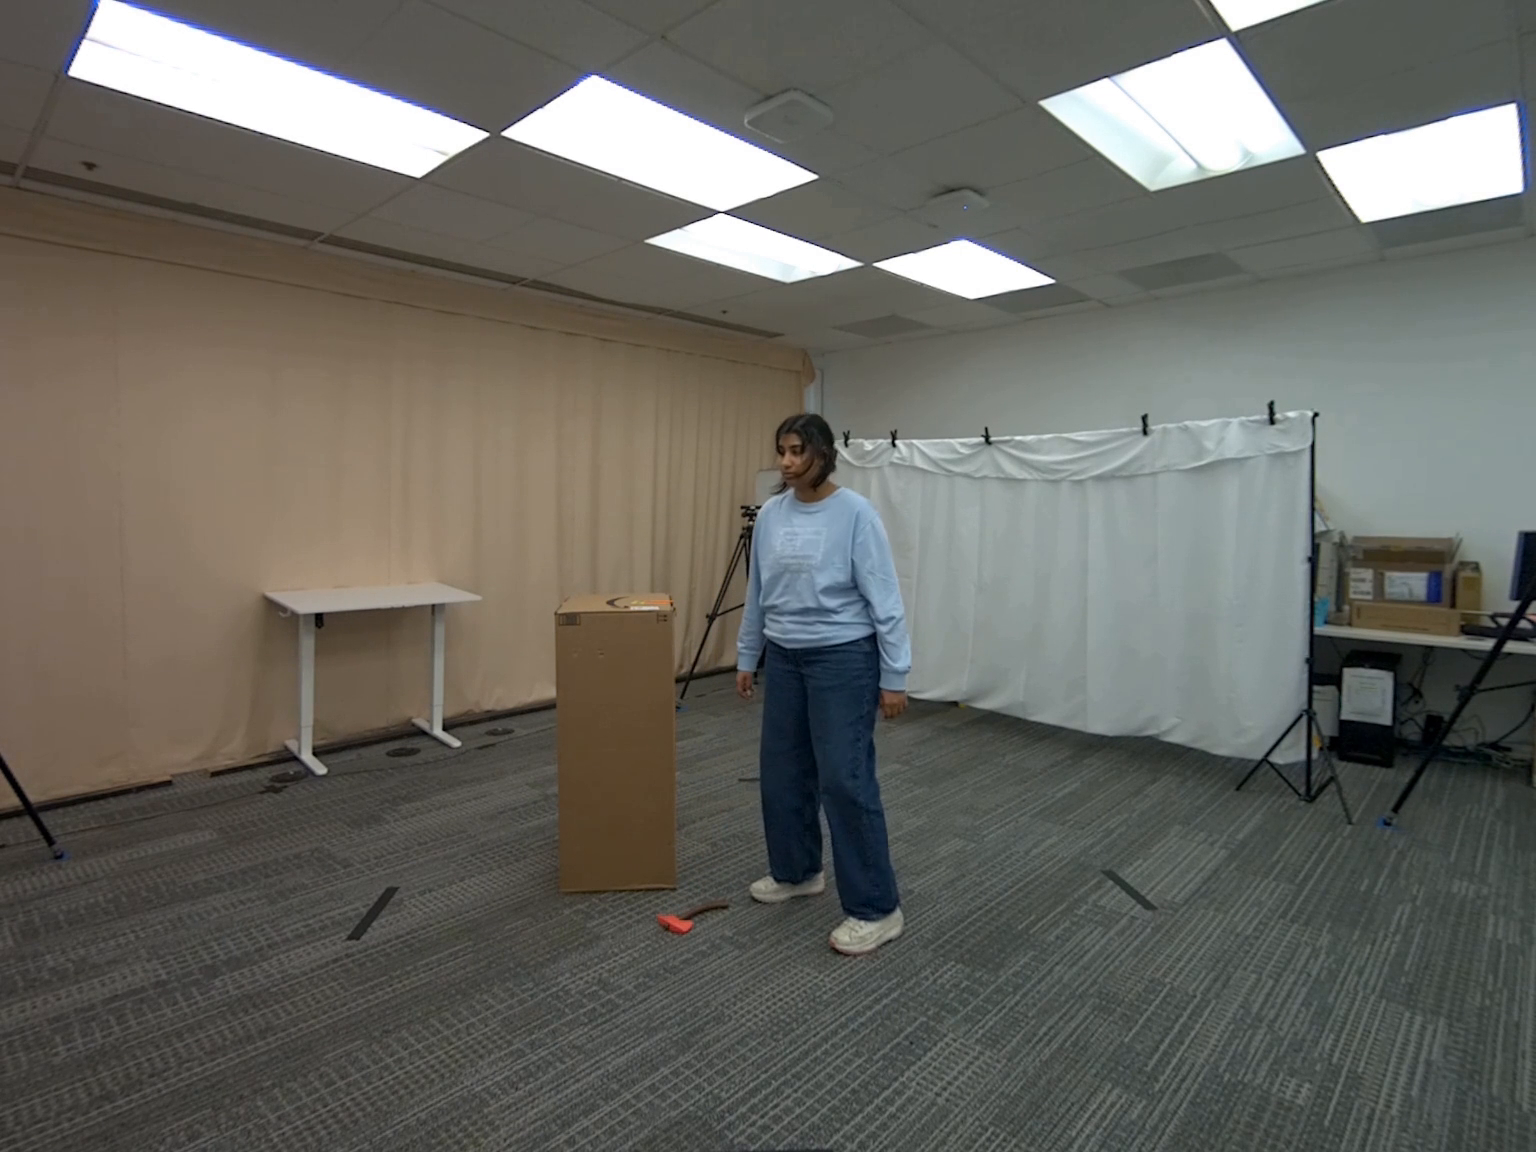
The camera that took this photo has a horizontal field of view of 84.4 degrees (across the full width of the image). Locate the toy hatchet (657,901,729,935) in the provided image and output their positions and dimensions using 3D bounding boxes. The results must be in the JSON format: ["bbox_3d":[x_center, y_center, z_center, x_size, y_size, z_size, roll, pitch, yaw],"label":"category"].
[{"bbox_3d":[-0.233,1.146,2.824,0.262,0.029,0.135,-1,5,-31],"label":"toy hatchet"}]
